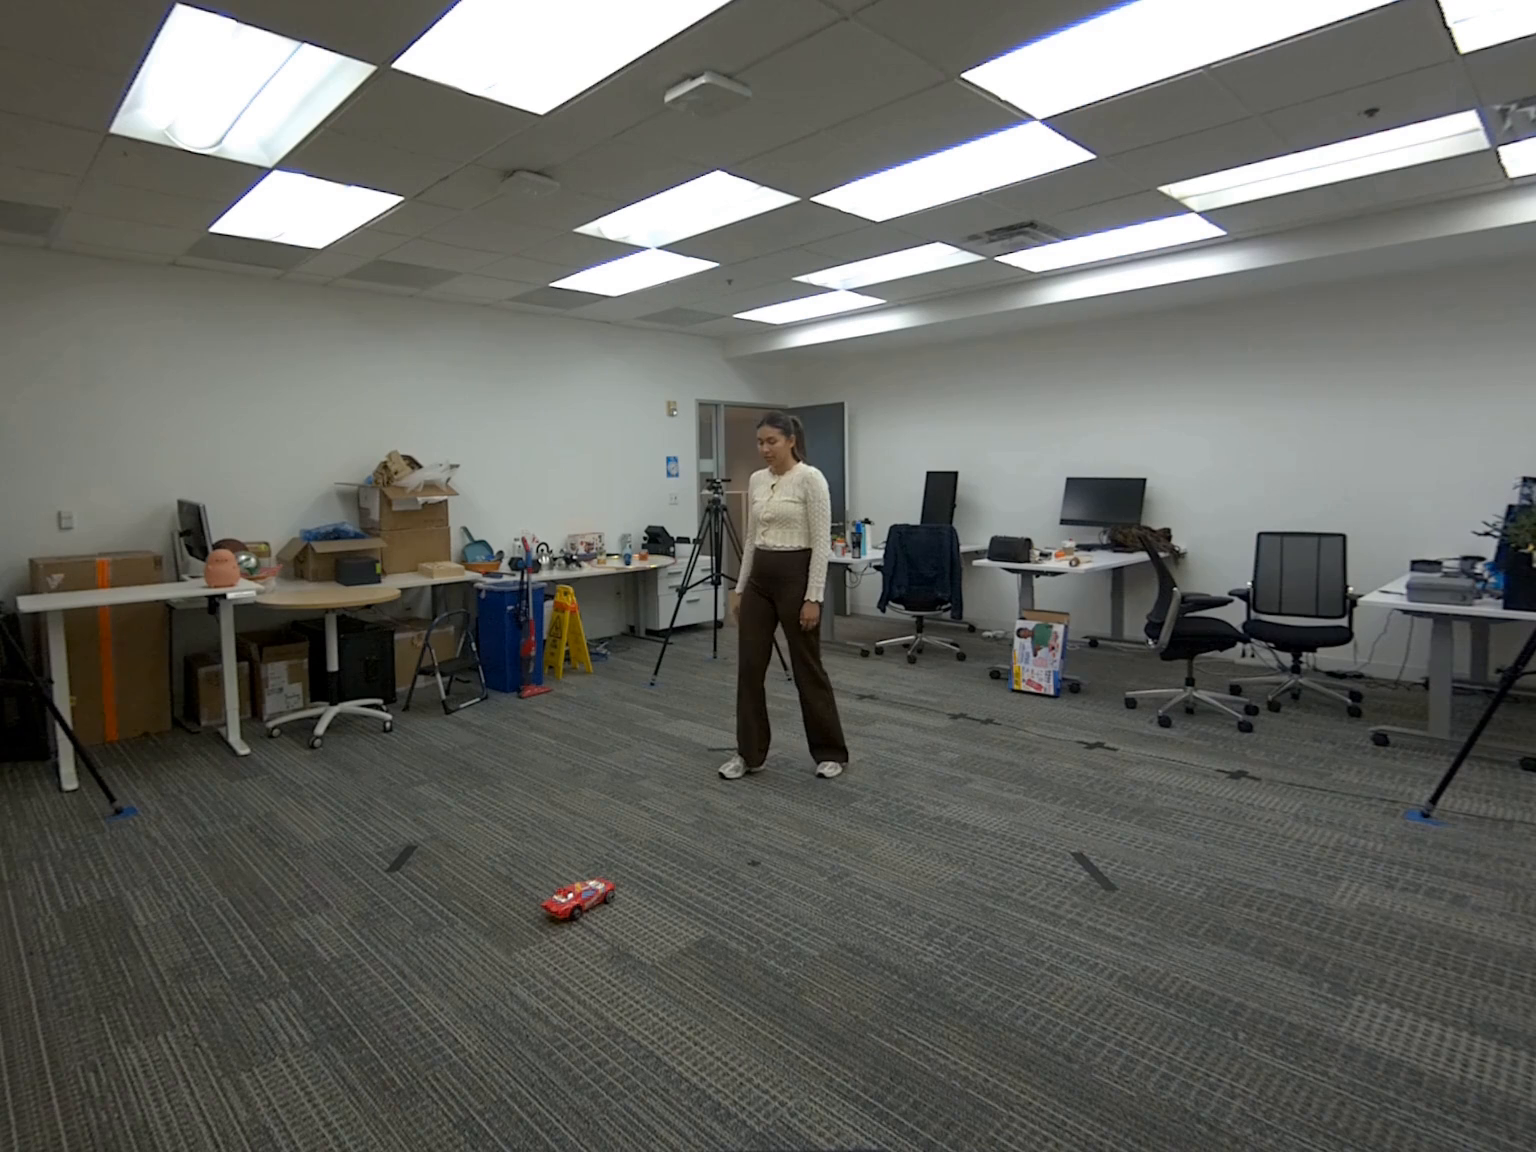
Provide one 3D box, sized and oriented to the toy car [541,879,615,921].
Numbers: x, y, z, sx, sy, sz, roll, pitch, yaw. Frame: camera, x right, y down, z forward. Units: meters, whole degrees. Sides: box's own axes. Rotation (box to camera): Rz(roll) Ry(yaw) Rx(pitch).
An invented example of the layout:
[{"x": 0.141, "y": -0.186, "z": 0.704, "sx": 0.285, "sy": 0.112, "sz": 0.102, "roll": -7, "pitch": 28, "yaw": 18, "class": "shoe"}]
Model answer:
[{"x": -0.624, "y": 1.060, "z": 2.795, "sx": 0.134, "sy": 0.083, "sz": 0.246, "roll": 4, "pitch": -3, "yaw": 39, "class": "toy car"}]
